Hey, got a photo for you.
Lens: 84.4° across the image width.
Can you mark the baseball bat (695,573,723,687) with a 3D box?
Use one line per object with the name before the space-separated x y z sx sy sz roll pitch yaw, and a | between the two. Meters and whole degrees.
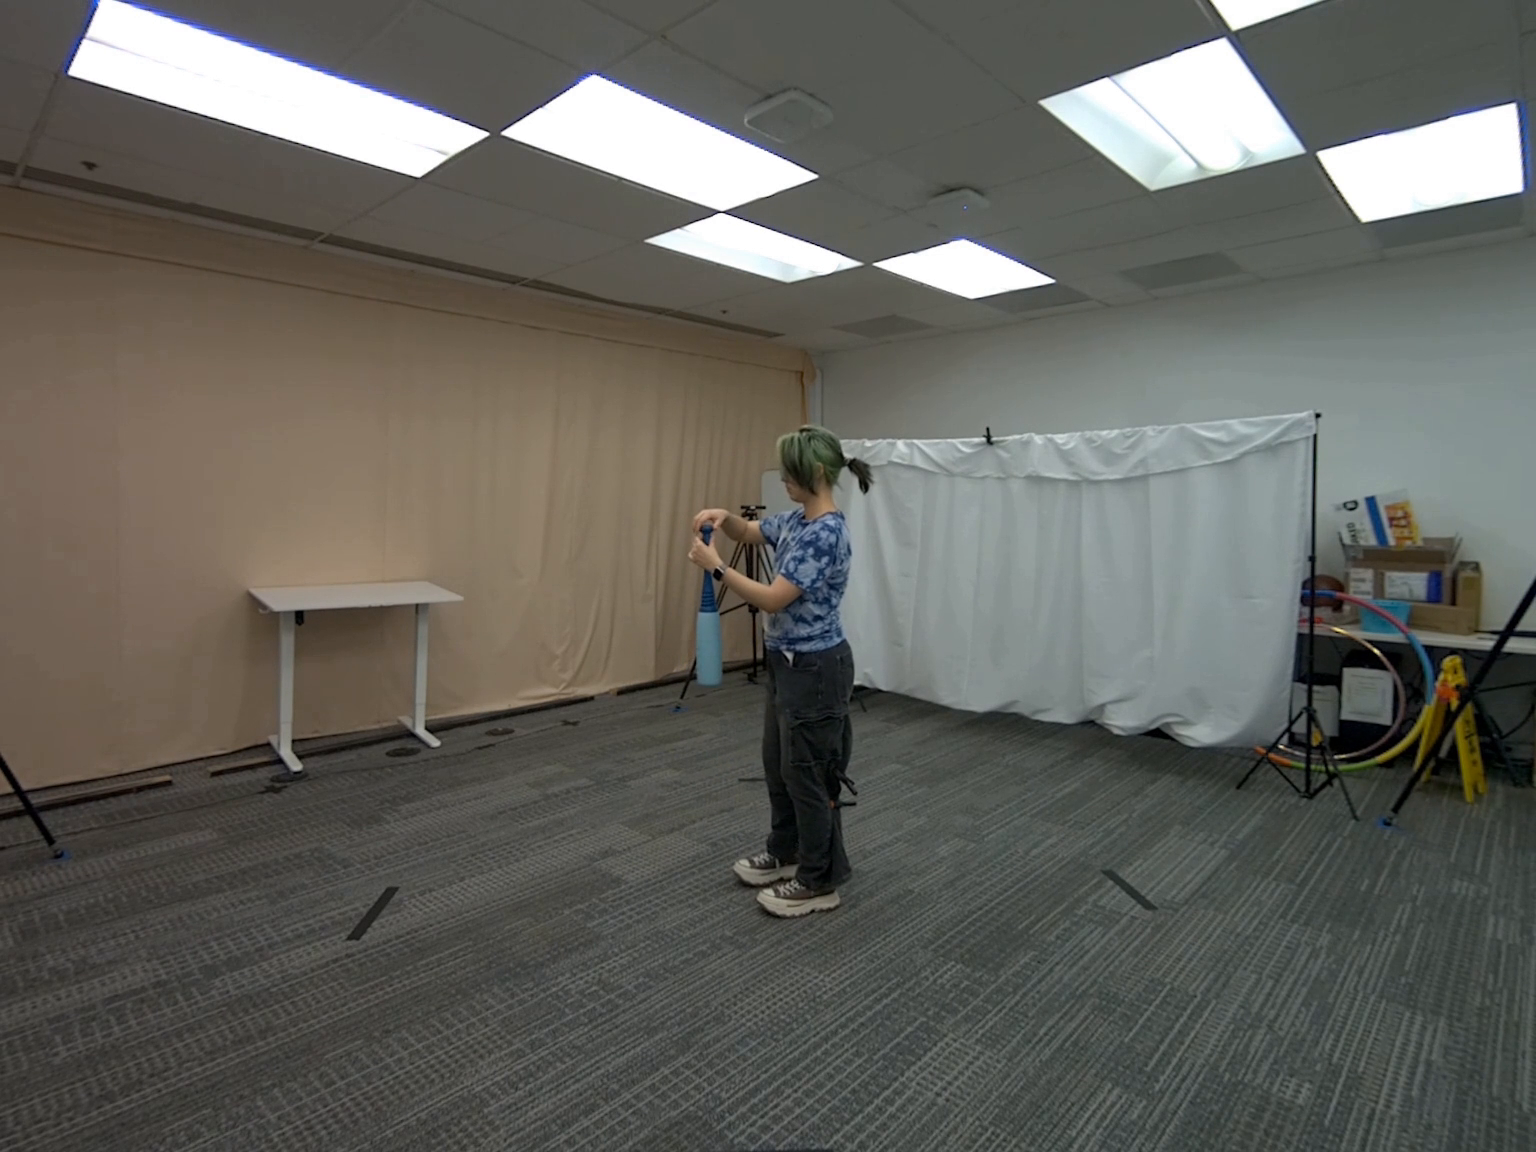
baseball bat | -0.204 0.101 2.871 0.089 0.541 0.089 -1 6 -2
